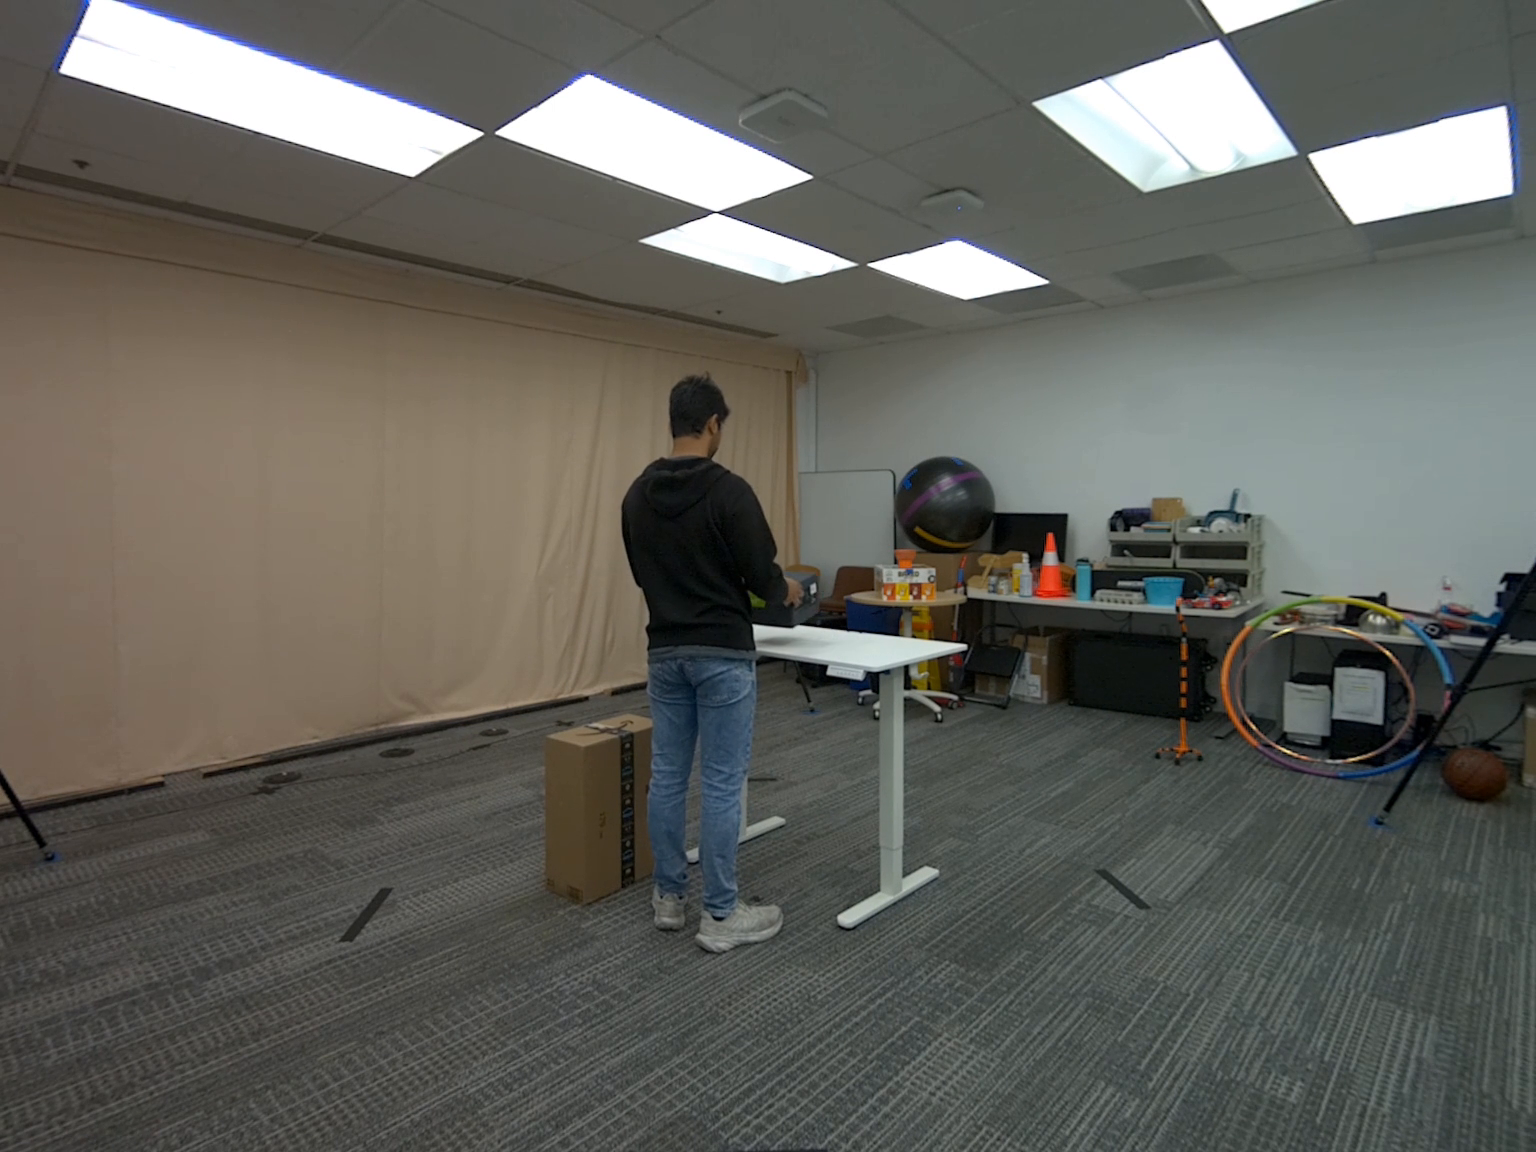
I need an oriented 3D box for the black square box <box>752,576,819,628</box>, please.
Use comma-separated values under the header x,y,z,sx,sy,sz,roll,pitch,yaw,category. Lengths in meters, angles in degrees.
x,y,z,sx,sy,sz,roll,pitch,yaw,category
0.030,0.085,3.154,0.235,0.154,0.212,4,15,30,black square box
